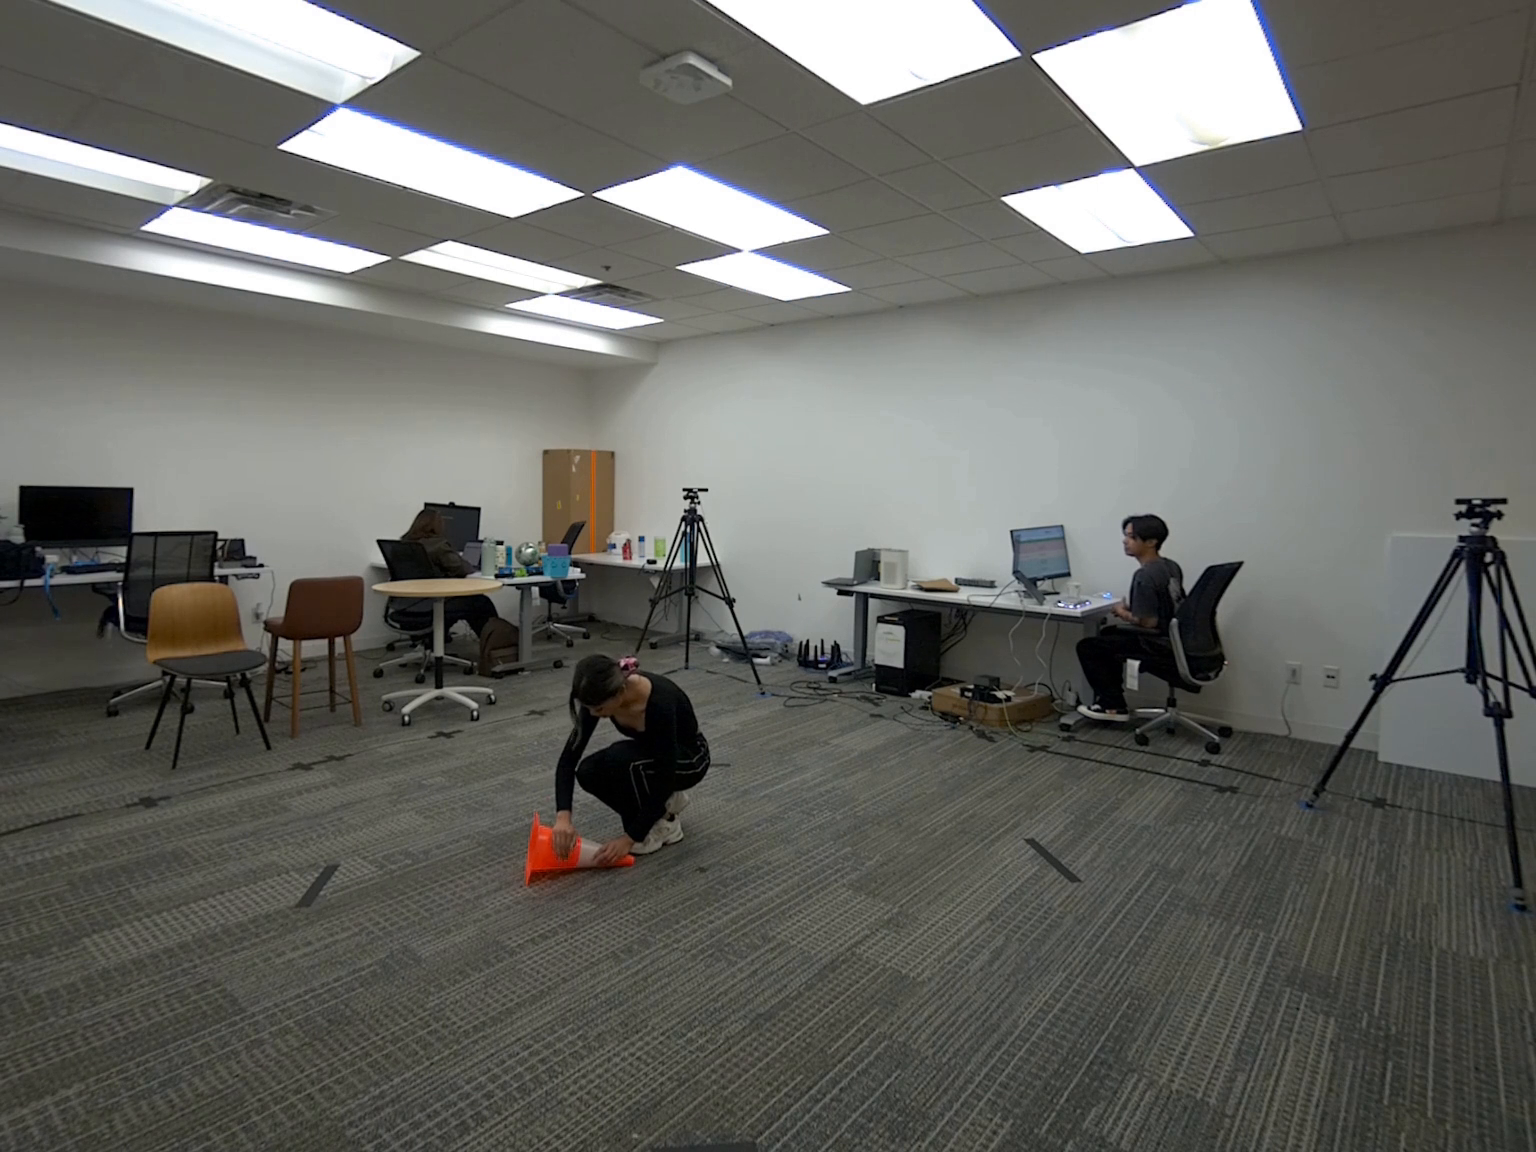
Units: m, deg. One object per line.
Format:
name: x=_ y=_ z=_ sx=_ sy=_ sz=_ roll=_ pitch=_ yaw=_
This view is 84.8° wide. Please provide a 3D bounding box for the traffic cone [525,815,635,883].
traffic cone: x=-0.682 y=1.003 z=3.082 sx=0.377 sy=0.203 sz=0.209 roll=10 pitch=5 yaw=-14
